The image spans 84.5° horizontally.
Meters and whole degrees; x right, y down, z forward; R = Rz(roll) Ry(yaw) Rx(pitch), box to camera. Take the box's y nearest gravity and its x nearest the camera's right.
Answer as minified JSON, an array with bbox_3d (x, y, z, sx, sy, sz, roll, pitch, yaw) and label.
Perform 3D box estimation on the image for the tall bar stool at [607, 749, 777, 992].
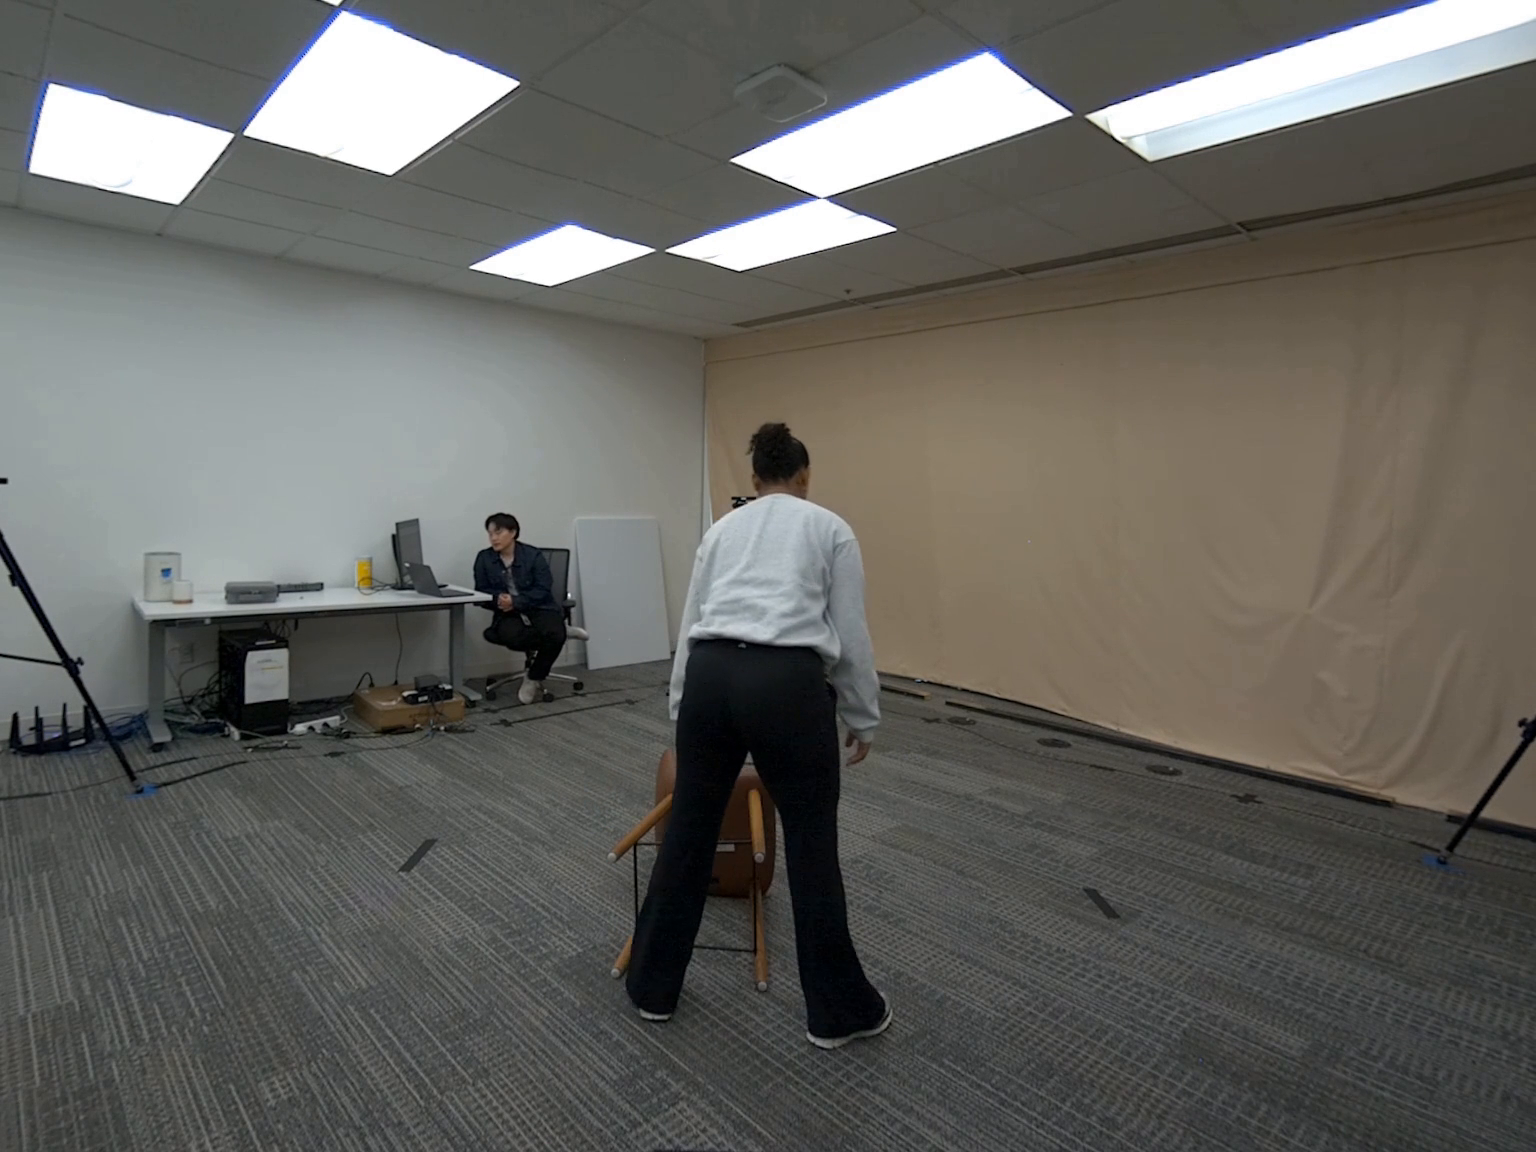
[{"bbox_3d":[-0.212,0.920,2.811,0.469,0.454,0.891,-1,7,3],"label":"tall bar stool"}]
